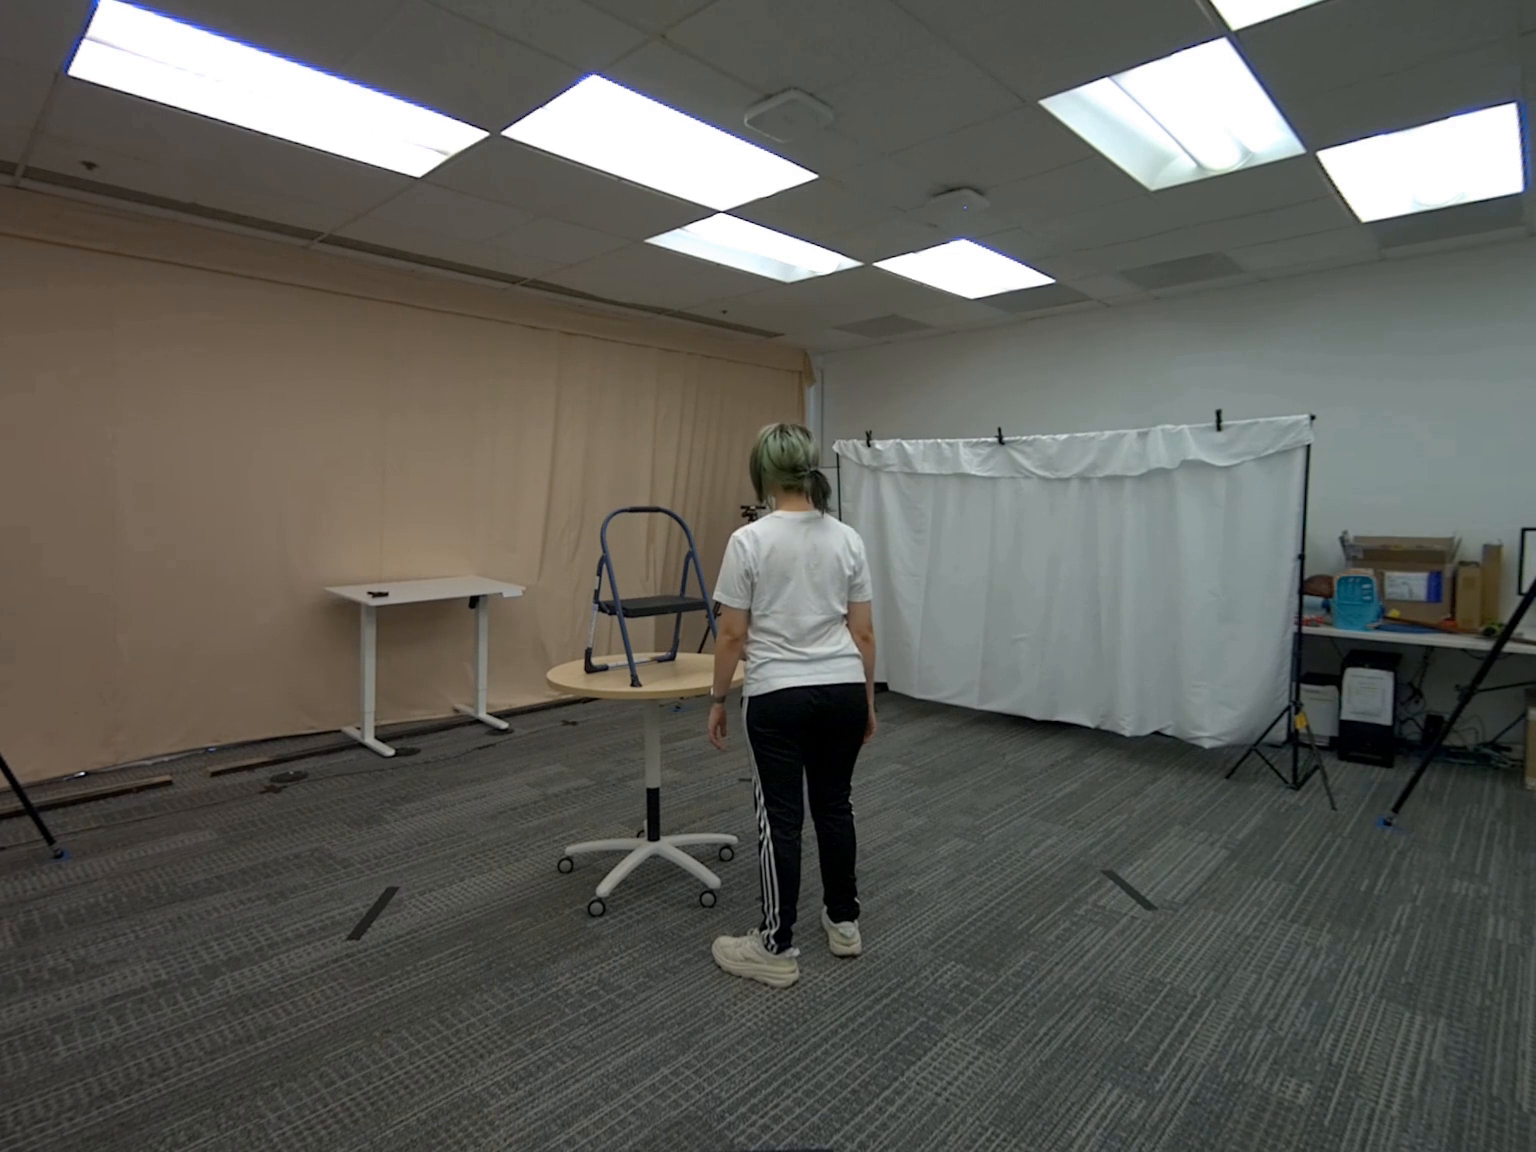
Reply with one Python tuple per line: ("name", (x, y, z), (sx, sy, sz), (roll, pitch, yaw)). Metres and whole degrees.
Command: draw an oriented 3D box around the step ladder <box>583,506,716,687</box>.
("step ladder", (-0.416, 0.053, 3.074), (0.417, 0.605, 0.361), (-3, 4, -42))
